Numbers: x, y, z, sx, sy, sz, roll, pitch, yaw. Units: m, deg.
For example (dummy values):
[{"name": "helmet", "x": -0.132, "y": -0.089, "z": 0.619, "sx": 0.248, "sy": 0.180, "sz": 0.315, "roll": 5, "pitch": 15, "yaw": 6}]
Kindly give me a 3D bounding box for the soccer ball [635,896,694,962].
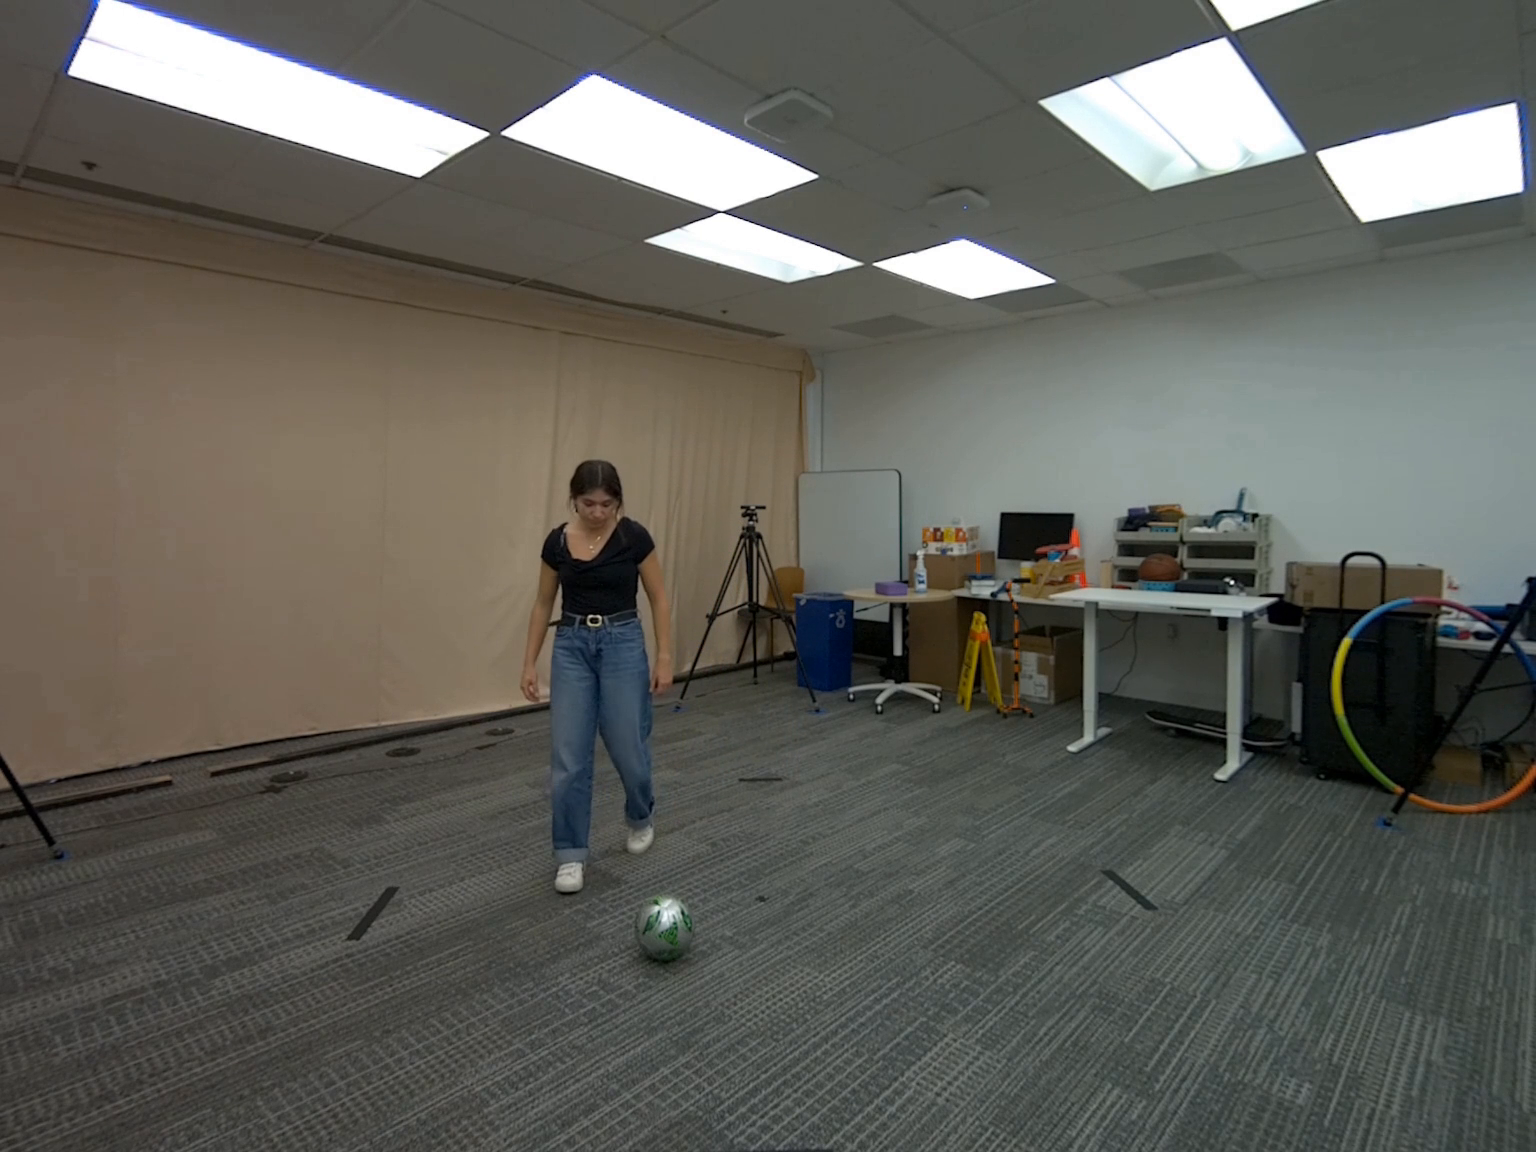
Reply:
[{"name": "soccer ball", "x": -0.310, "y": 1.082, "z": 2.596, "sx": 0.187, "sy": 0.187, "sz": 0.188, "roll": 0, "pitch": 4, "yaw": -2}]
